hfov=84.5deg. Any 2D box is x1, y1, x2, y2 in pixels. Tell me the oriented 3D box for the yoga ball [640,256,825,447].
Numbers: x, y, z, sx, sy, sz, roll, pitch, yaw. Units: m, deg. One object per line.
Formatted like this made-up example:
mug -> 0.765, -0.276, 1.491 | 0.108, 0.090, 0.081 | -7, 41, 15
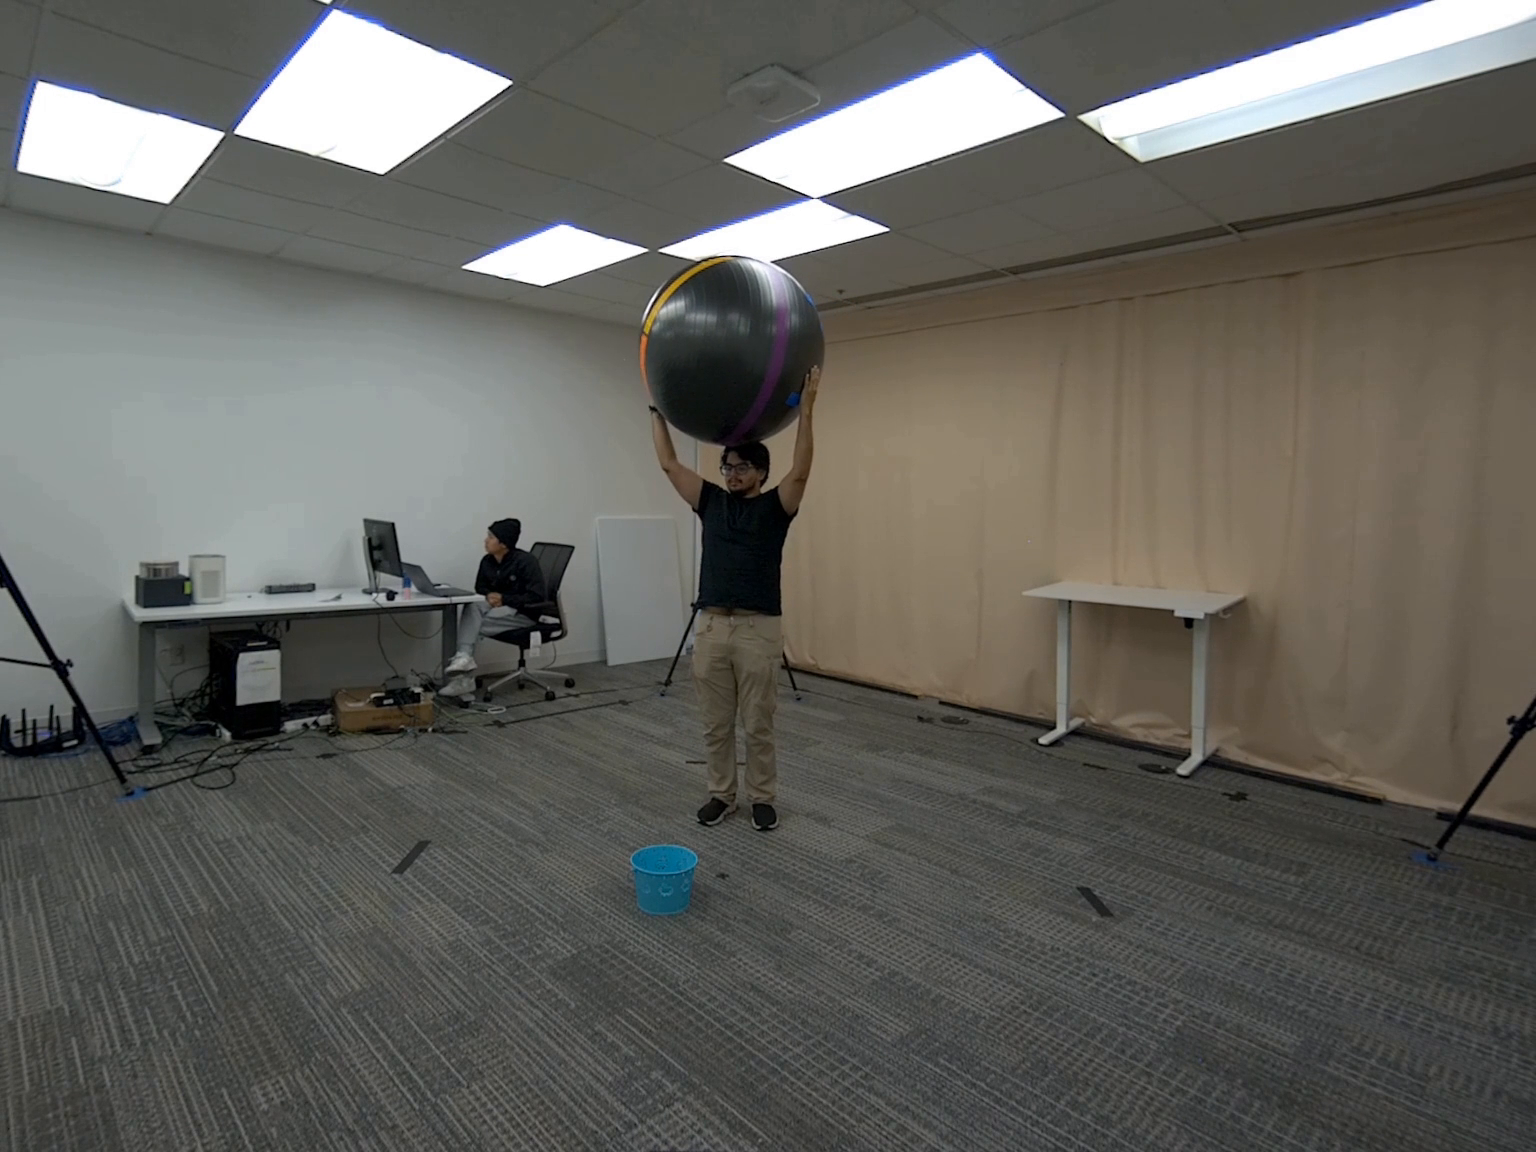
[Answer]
yoga ball -> -0.154, -0.905, 3.416 | 0.757, 0.756, 0.761 | 1, 4, -1
